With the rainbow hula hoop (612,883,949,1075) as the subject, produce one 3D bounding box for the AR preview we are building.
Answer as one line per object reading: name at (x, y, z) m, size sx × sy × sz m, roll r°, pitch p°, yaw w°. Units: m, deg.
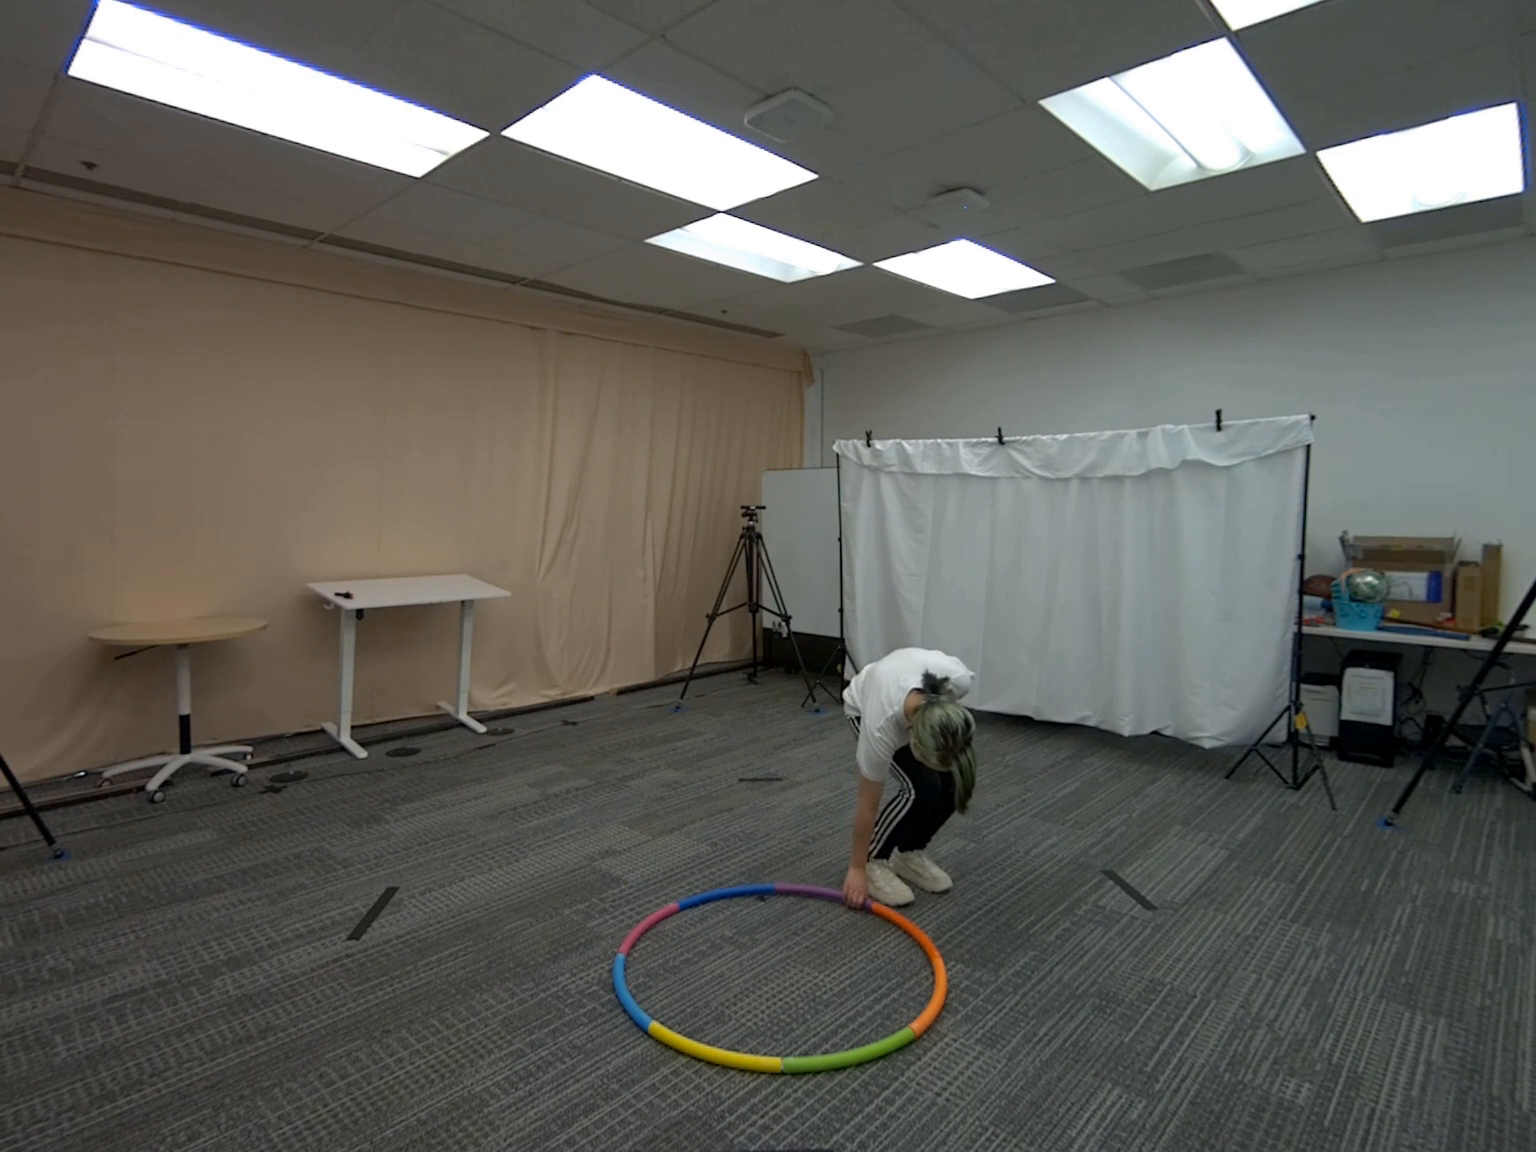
rainbow hula hoop at (0.028, 1.147, 2.546) m, size 0.978 × 0.035 × 0.982 m, roll -1°, pitch 5°, yaw -2°
